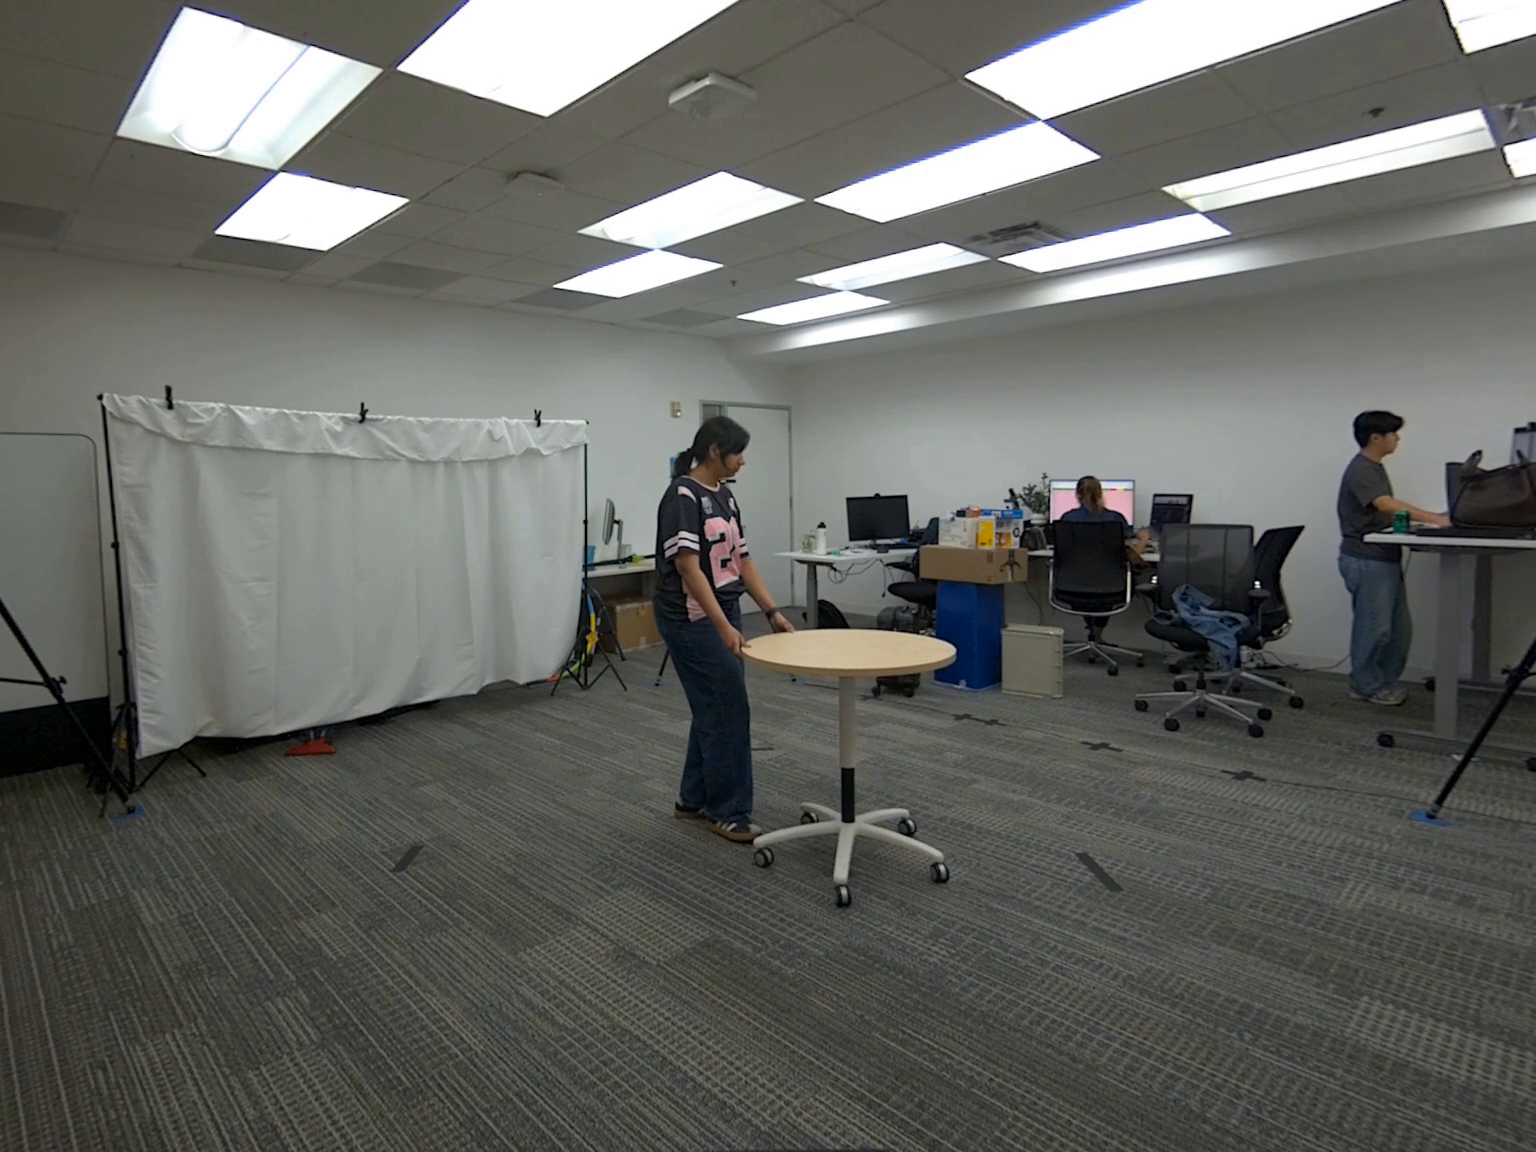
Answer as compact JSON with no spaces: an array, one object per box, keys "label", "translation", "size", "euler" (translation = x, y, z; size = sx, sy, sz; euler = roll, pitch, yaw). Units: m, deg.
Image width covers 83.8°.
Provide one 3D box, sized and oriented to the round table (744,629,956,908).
[{"label":"round table","translation":[0.294,0.652,3.108],"size":[0.763,0.791,0.767],"euler":[-1,4,-2]}]
